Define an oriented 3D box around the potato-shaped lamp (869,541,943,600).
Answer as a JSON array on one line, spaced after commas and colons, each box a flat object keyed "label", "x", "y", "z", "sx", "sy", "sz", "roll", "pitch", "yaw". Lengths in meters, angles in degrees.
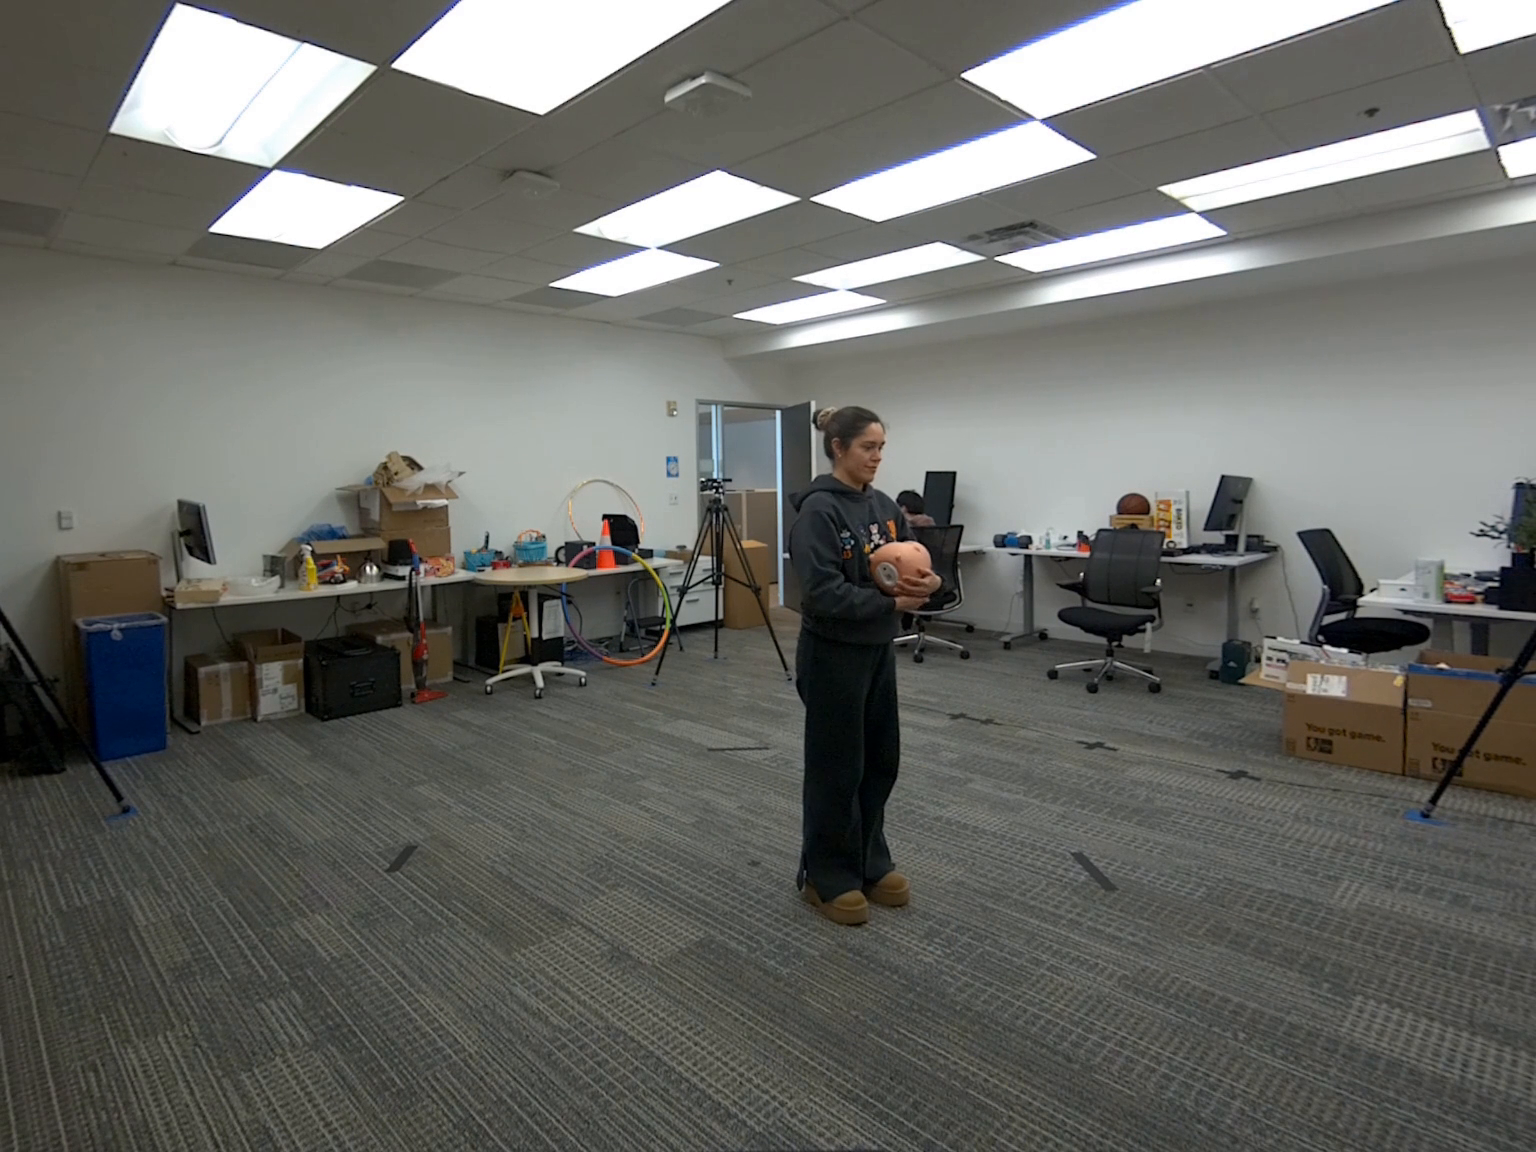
[{"label": "potato-shaped lamp", "x": 0.413, "y": -0.031, "z": 2.685, "sx": 0.169, "sy": 0.169, "sz": 0.196, "roll": -4, "pitch": 19, "yaw": 39}]
